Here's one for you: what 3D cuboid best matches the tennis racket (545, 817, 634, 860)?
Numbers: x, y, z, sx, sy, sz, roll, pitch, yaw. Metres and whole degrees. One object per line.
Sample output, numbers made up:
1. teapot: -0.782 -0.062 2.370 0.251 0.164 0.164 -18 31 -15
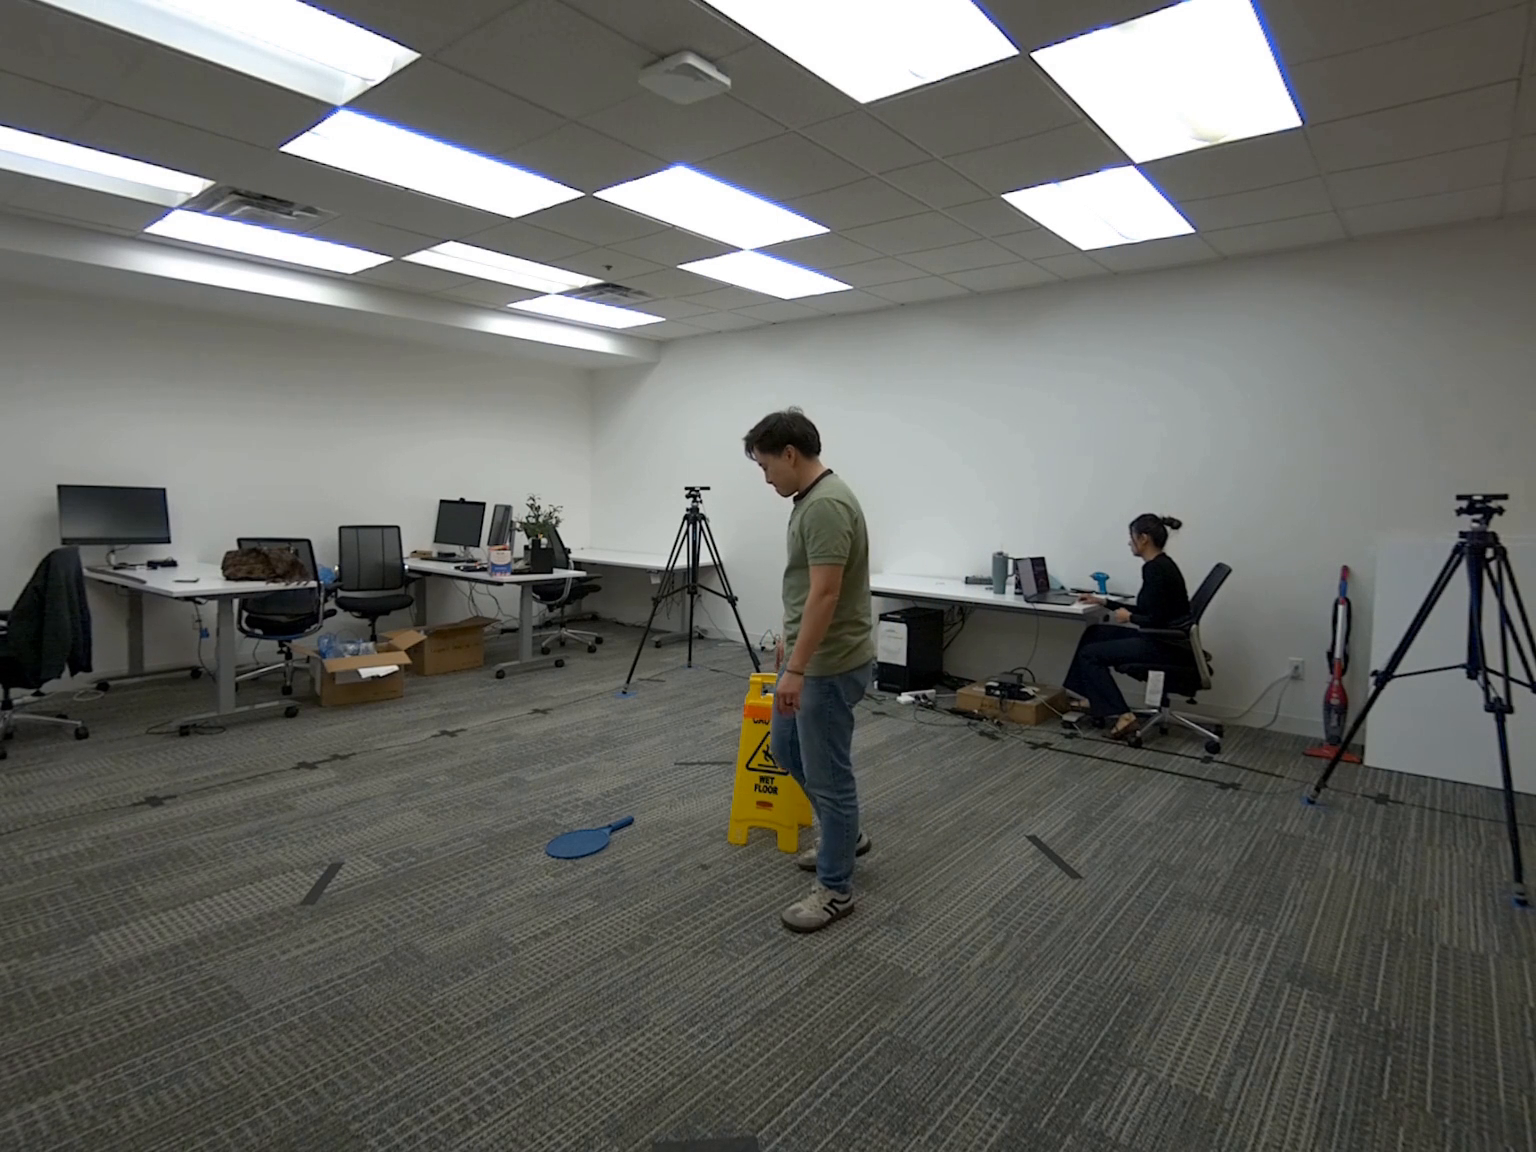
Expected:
1. tennis racket: -0.701 1.024 3.348 0.221 0.031 0.421 5 8 37
